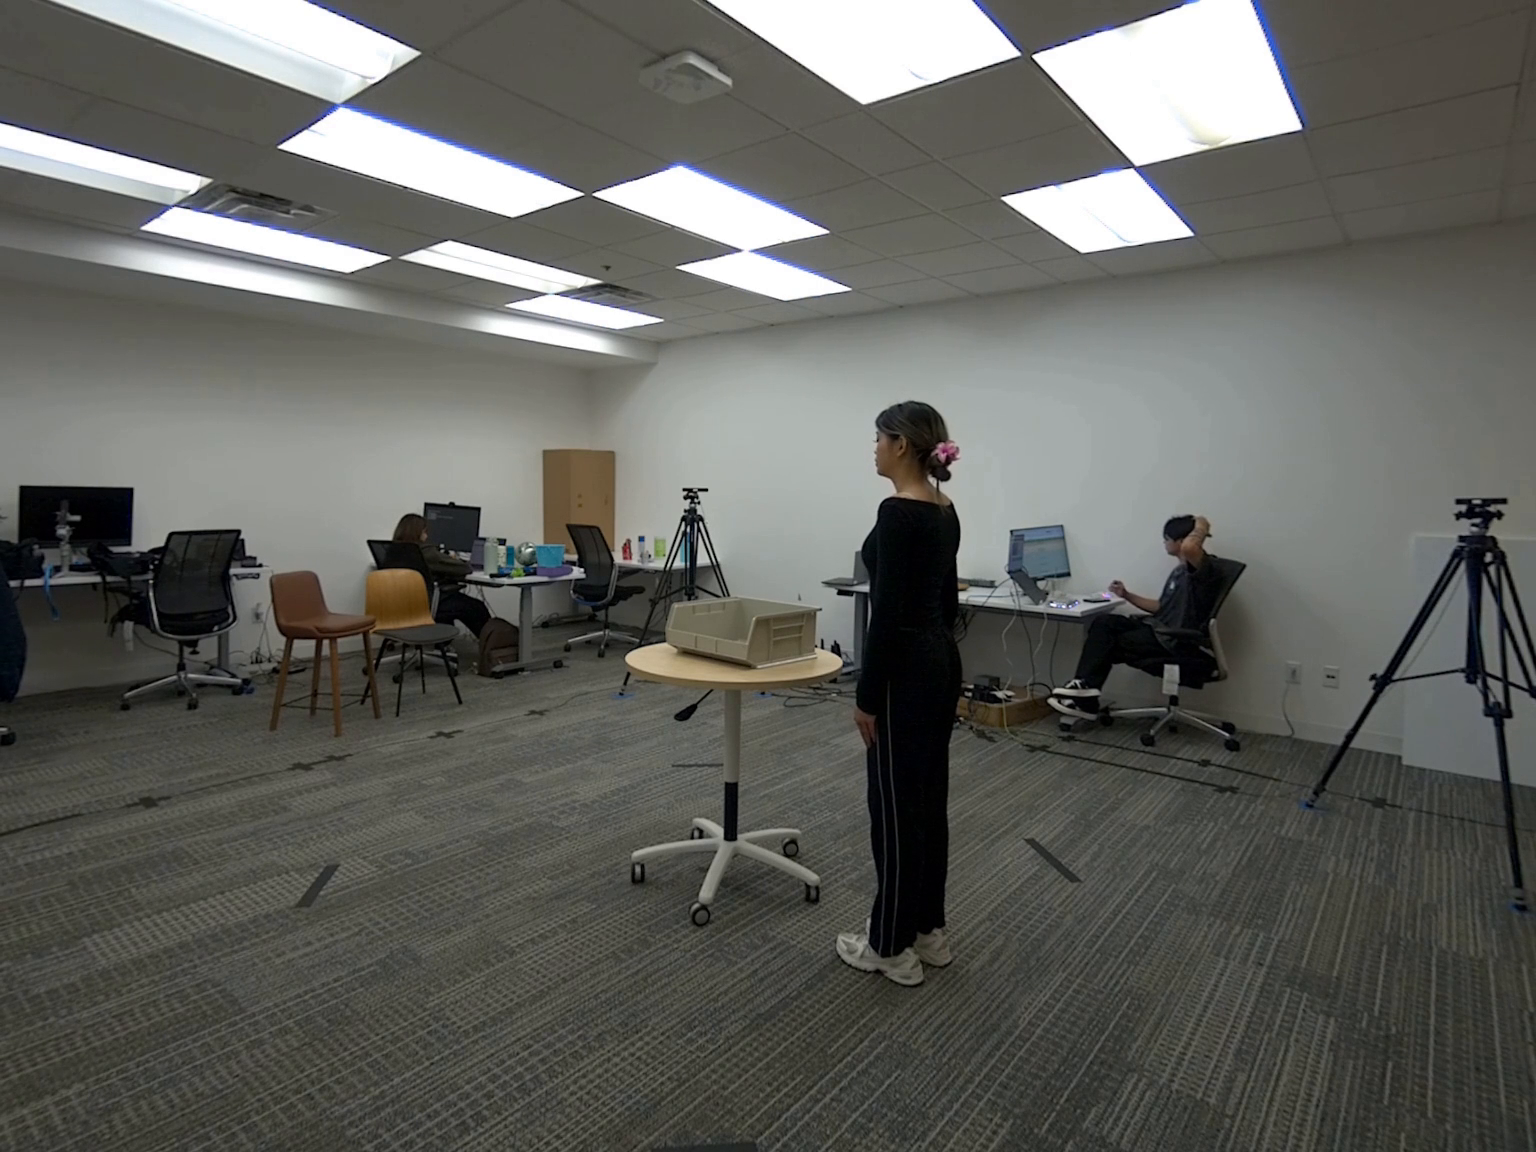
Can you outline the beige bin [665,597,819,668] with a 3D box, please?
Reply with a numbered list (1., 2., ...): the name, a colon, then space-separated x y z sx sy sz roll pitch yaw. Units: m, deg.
1. beige bin: -0.099 0.195 3.052 0.437 0.188 0.366 5 5 44
